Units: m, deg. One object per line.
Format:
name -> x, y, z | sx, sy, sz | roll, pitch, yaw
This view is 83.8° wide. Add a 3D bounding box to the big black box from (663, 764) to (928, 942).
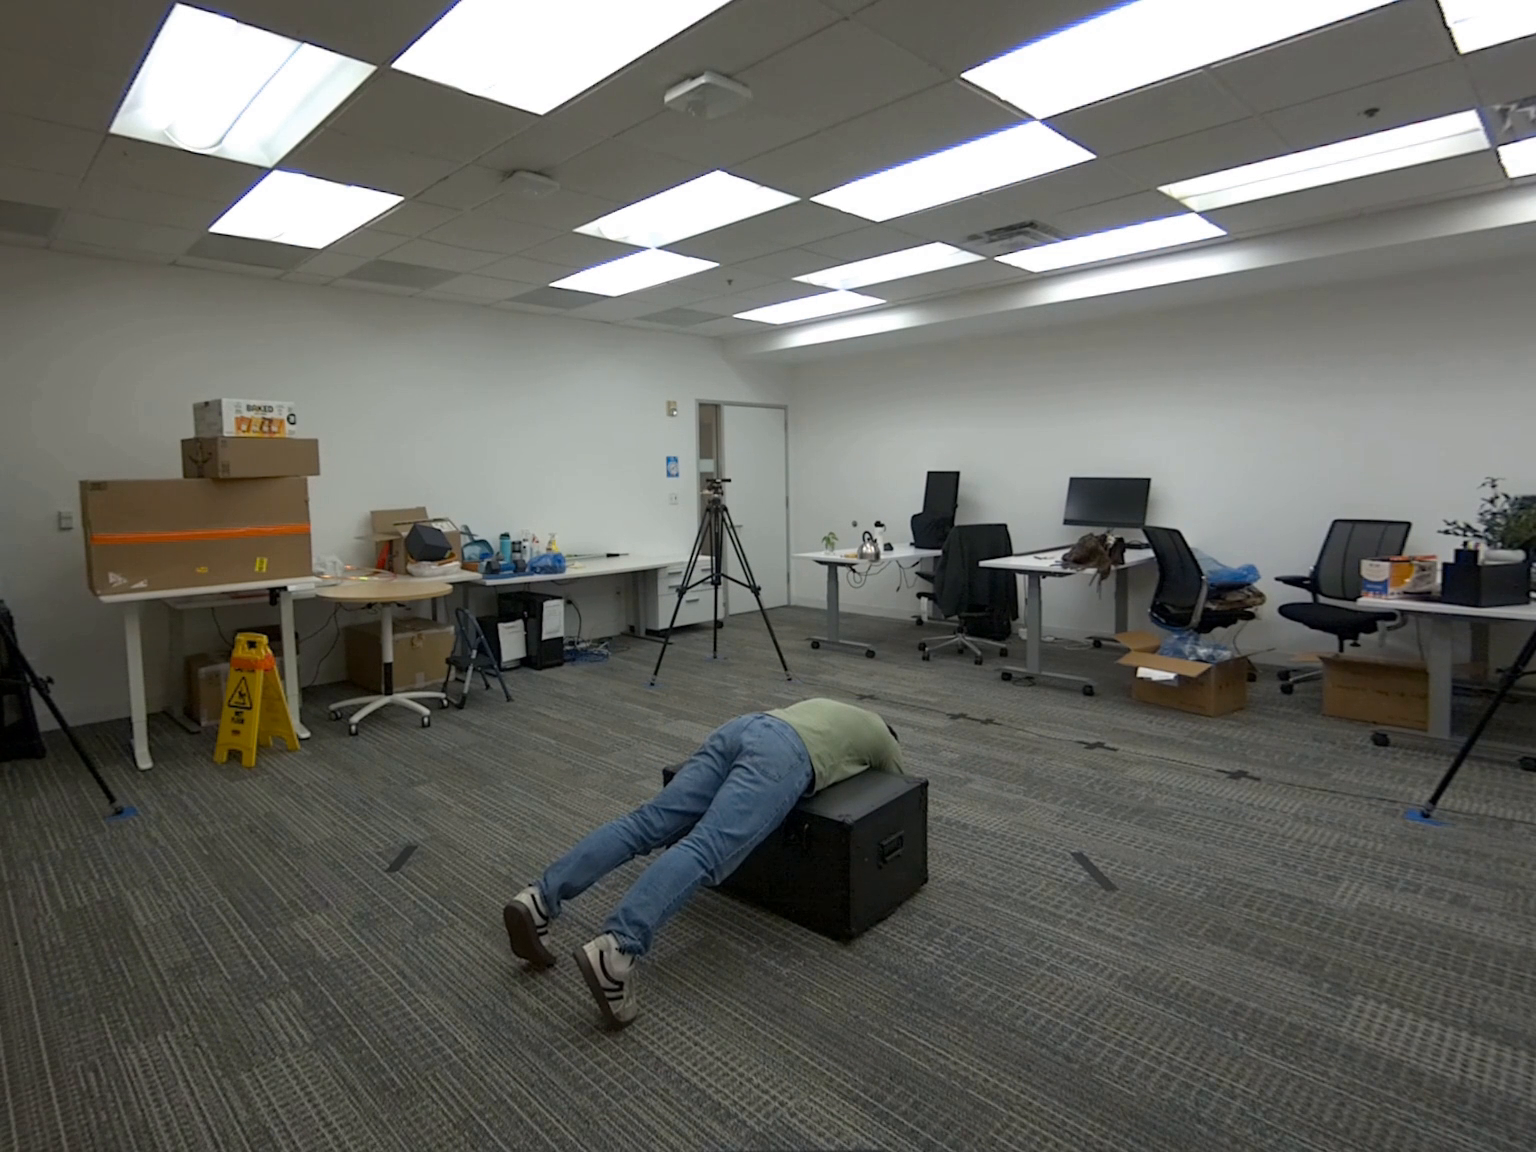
big black box -> 0.061, 0.875, 2.984 | 0.888, 0.394, 0.508 | 6, 8, 39
